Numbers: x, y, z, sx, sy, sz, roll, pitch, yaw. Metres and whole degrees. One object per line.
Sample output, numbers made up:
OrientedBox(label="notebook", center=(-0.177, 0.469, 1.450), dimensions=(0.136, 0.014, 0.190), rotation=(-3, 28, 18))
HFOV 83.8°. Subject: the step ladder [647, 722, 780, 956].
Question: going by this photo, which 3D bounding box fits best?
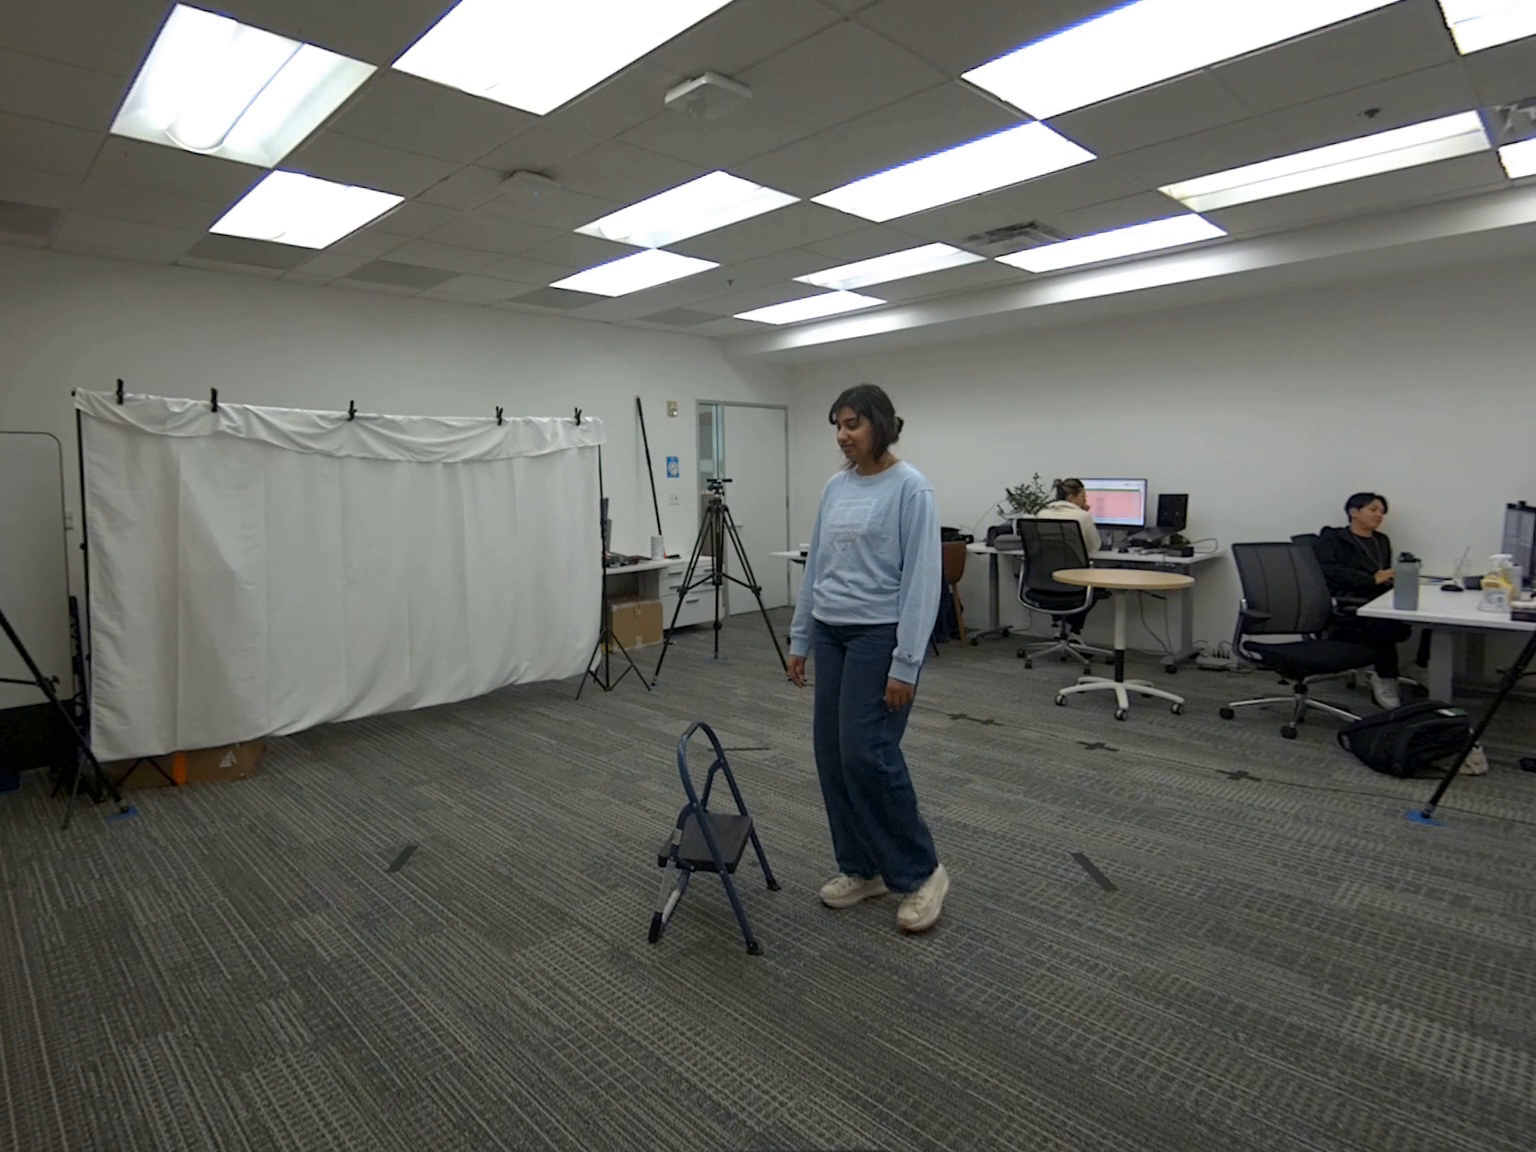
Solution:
OrientedBox(label="step ladder", center=(-0.166, 0.789, 2.727), dimensions=(0.353, 0.604, 0.428), rotation=(0, 5, 10))
